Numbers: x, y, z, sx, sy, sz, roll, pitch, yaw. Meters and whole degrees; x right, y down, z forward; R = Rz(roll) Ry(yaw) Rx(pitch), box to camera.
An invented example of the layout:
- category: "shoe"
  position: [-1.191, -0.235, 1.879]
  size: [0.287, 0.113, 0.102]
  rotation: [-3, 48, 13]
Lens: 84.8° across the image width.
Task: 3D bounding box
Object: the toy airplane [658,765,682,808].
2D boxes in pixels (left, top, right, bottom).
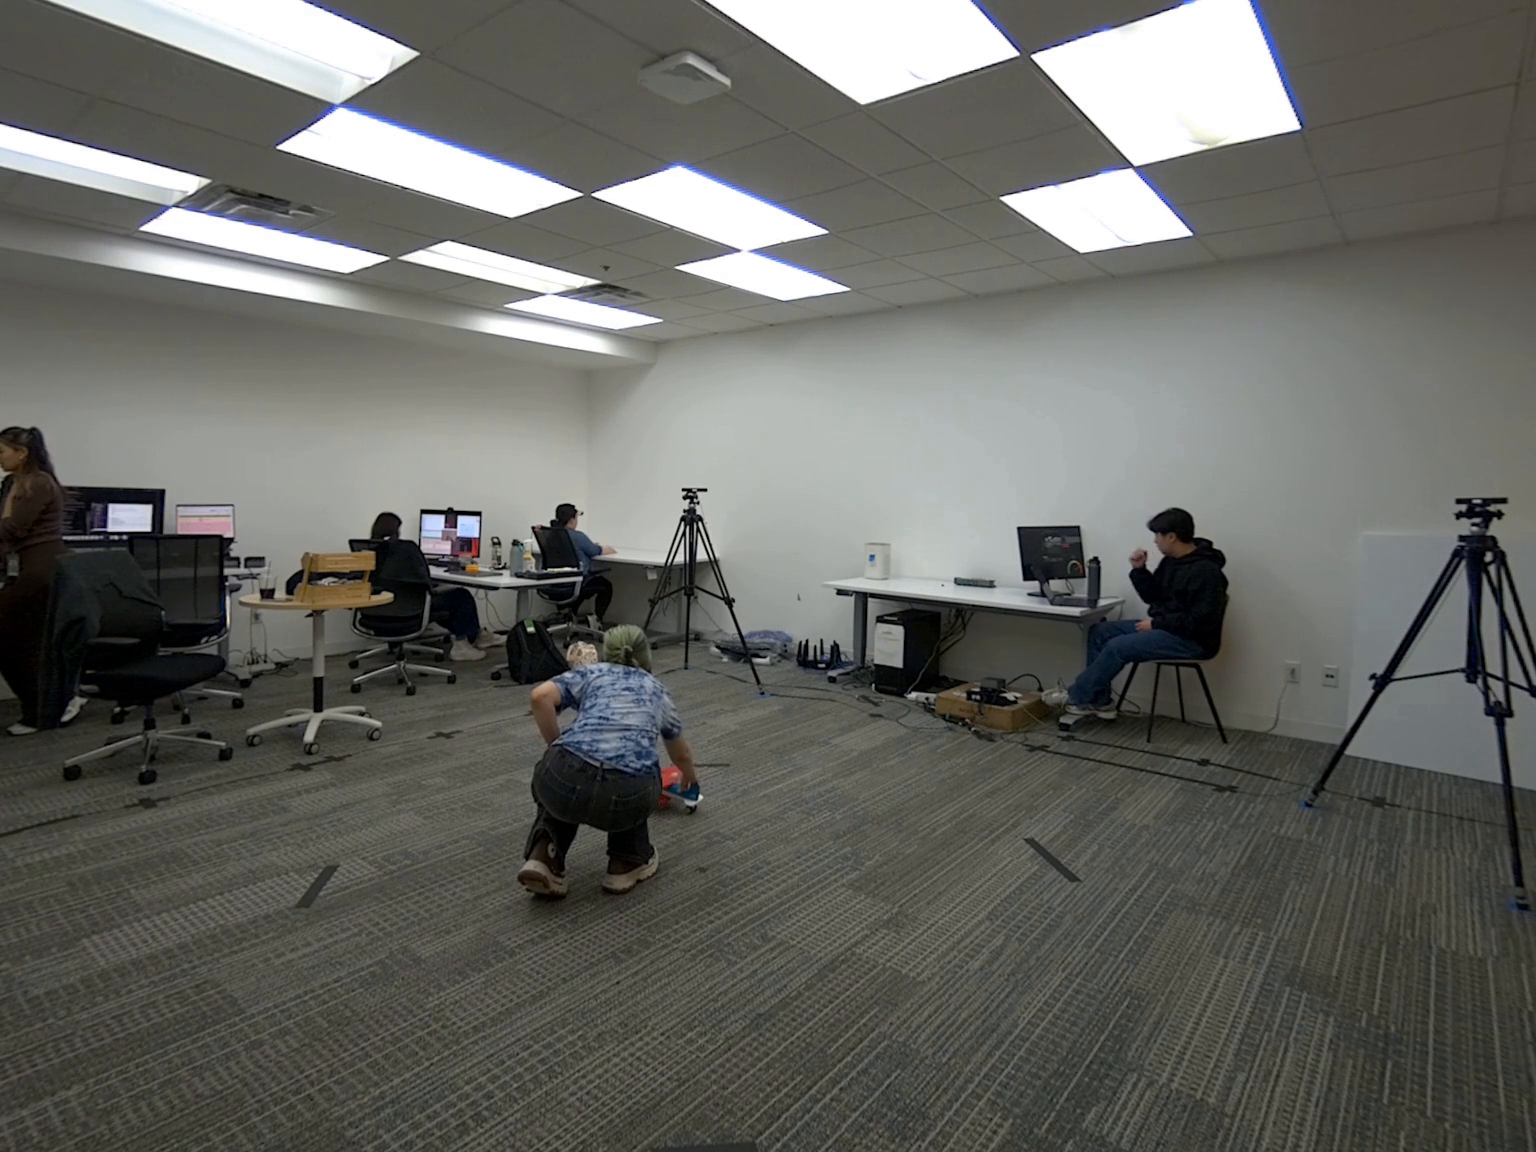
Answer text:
- category: "toy airplane"
  position: [-0.420, 0.932, 3.712]
  size: [0.258, 0.156, 0.253]
  rotation: [-1, 5, -5]
